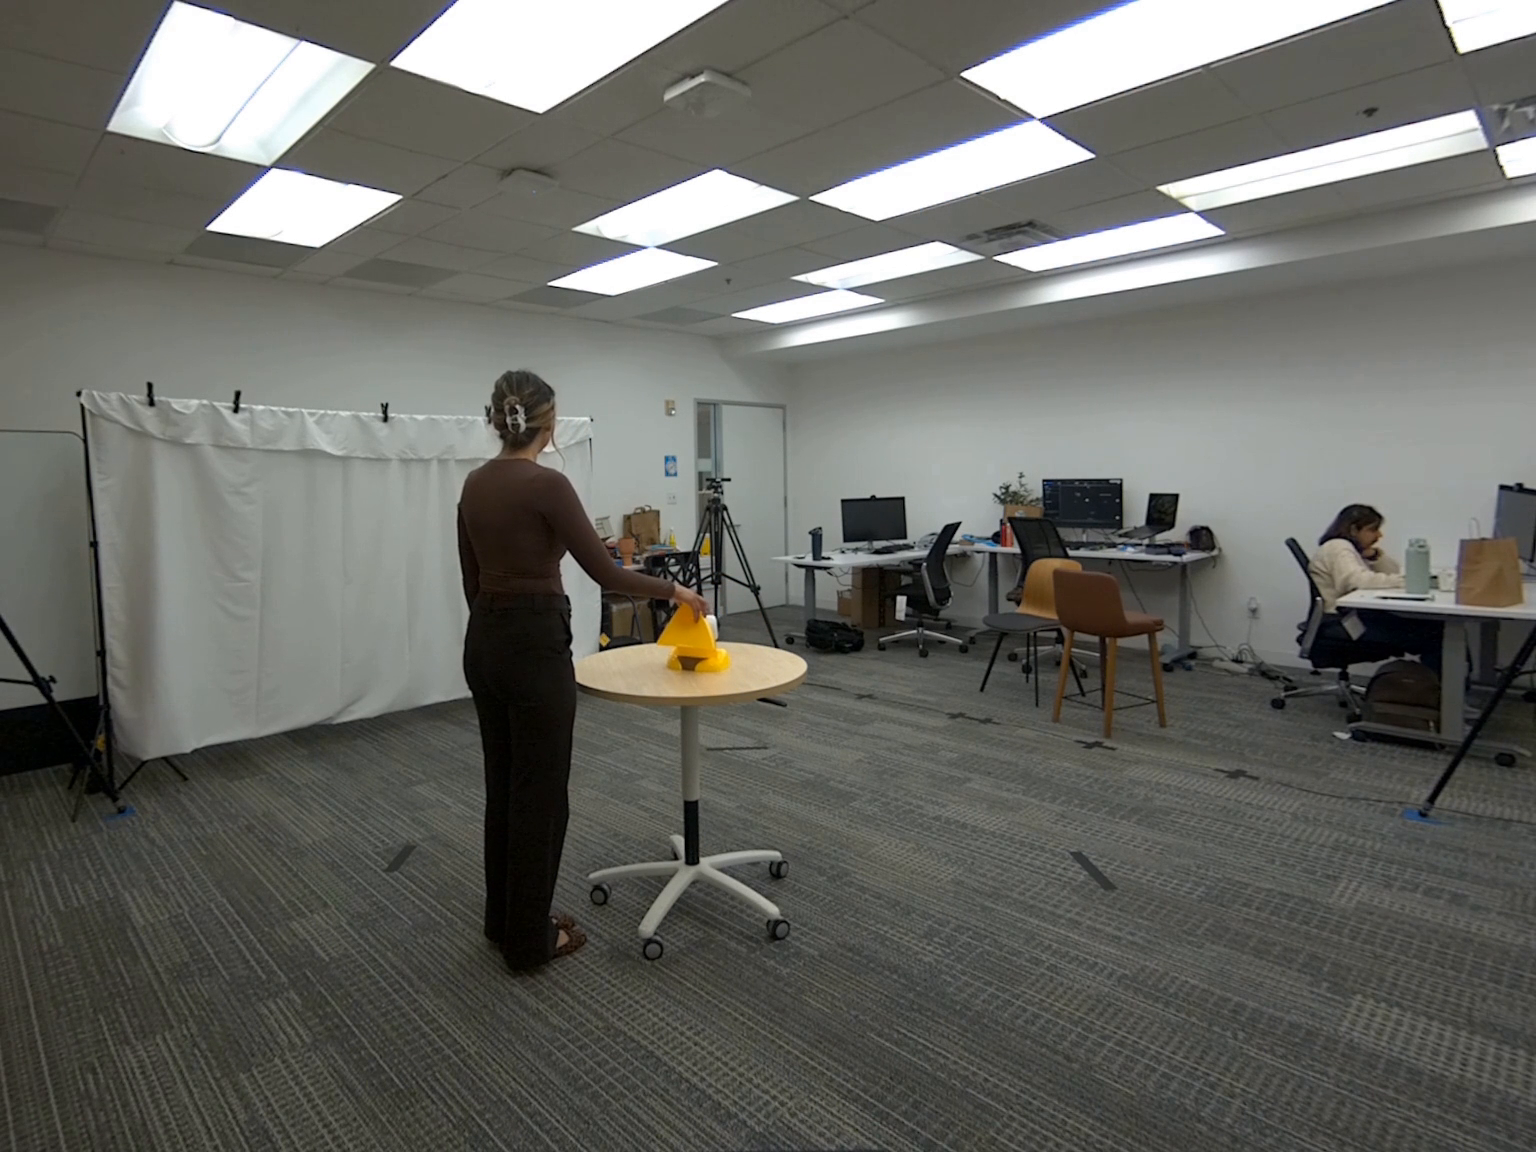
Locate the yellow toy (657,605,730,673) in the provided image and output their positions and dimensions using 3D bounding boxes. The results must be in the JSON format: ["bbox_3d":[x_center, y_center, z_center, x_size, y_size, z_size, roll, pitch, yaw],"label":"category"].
[{"bbox_3d":[-0.224,0.177,2.739,0.209,0.229,0.190,3,7,23],"label":"yellow toy"}]
